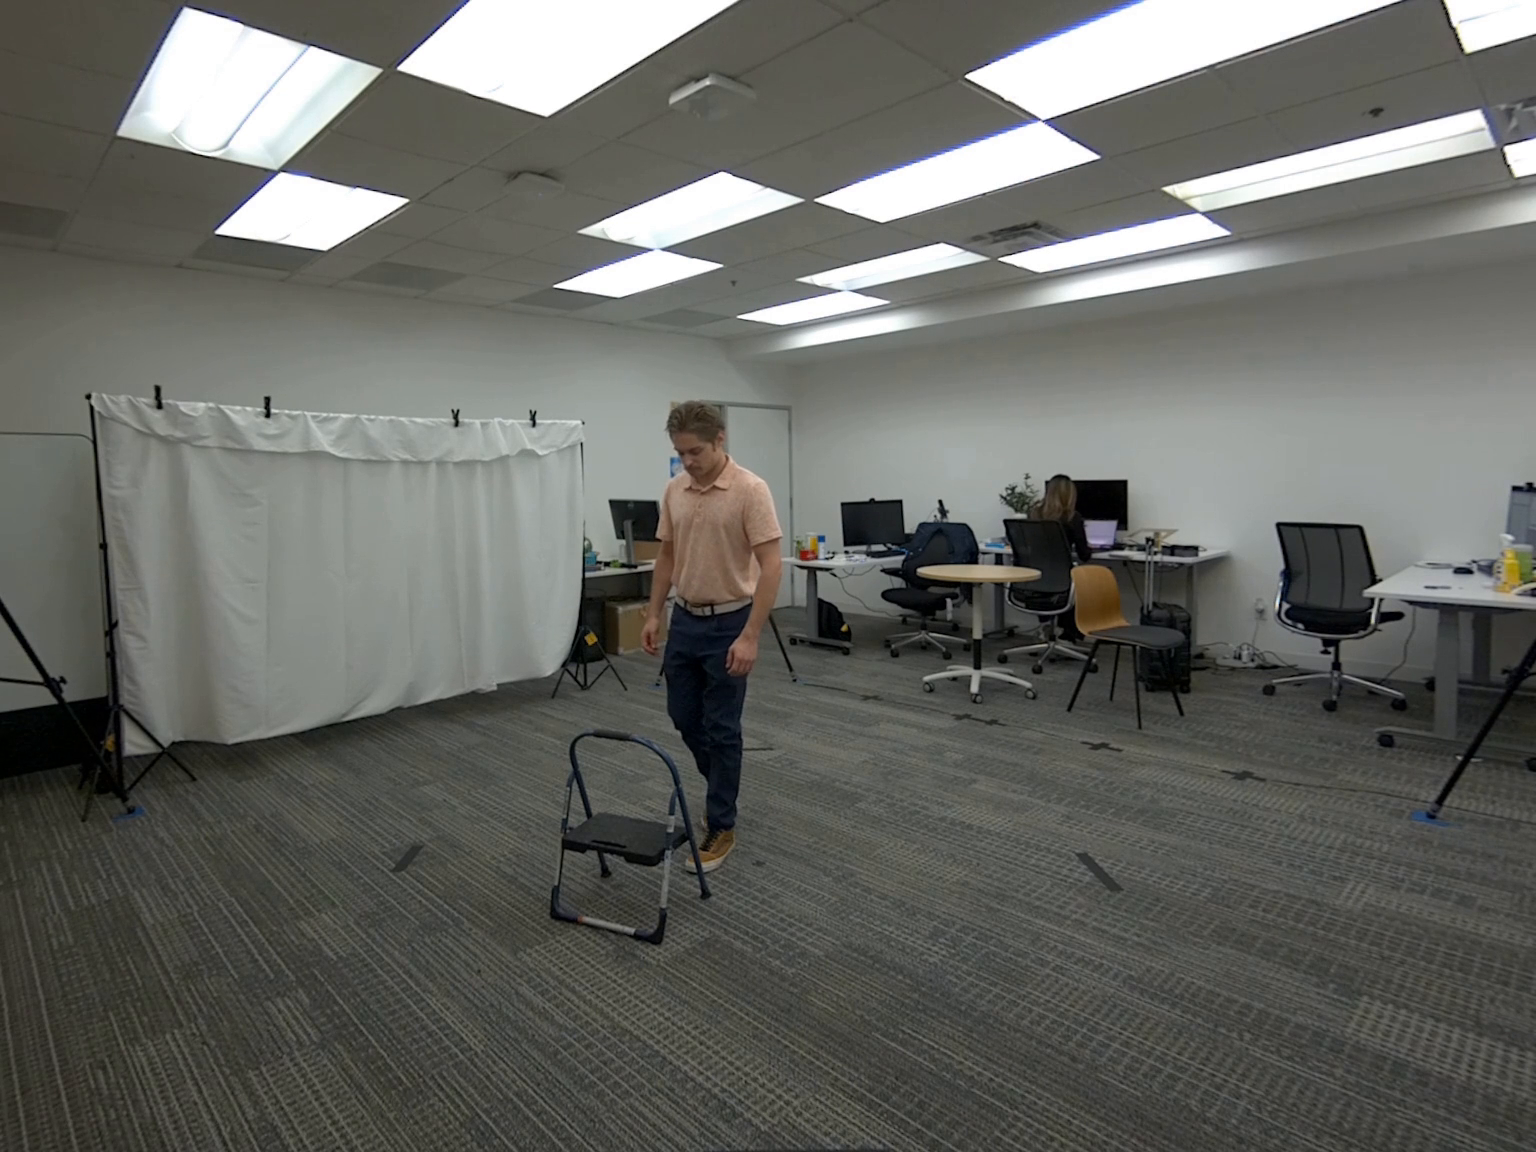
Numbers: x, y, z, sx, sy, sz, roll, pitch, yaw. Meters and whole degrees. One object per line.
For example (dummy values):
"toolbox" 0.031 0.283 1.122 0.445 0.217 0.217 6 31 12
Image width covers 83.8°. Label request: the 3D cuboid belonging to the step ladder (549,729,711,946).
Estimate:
"step ladder" -0.457 0.790 2.794 0.440 0.604 0.343 0 5 24
